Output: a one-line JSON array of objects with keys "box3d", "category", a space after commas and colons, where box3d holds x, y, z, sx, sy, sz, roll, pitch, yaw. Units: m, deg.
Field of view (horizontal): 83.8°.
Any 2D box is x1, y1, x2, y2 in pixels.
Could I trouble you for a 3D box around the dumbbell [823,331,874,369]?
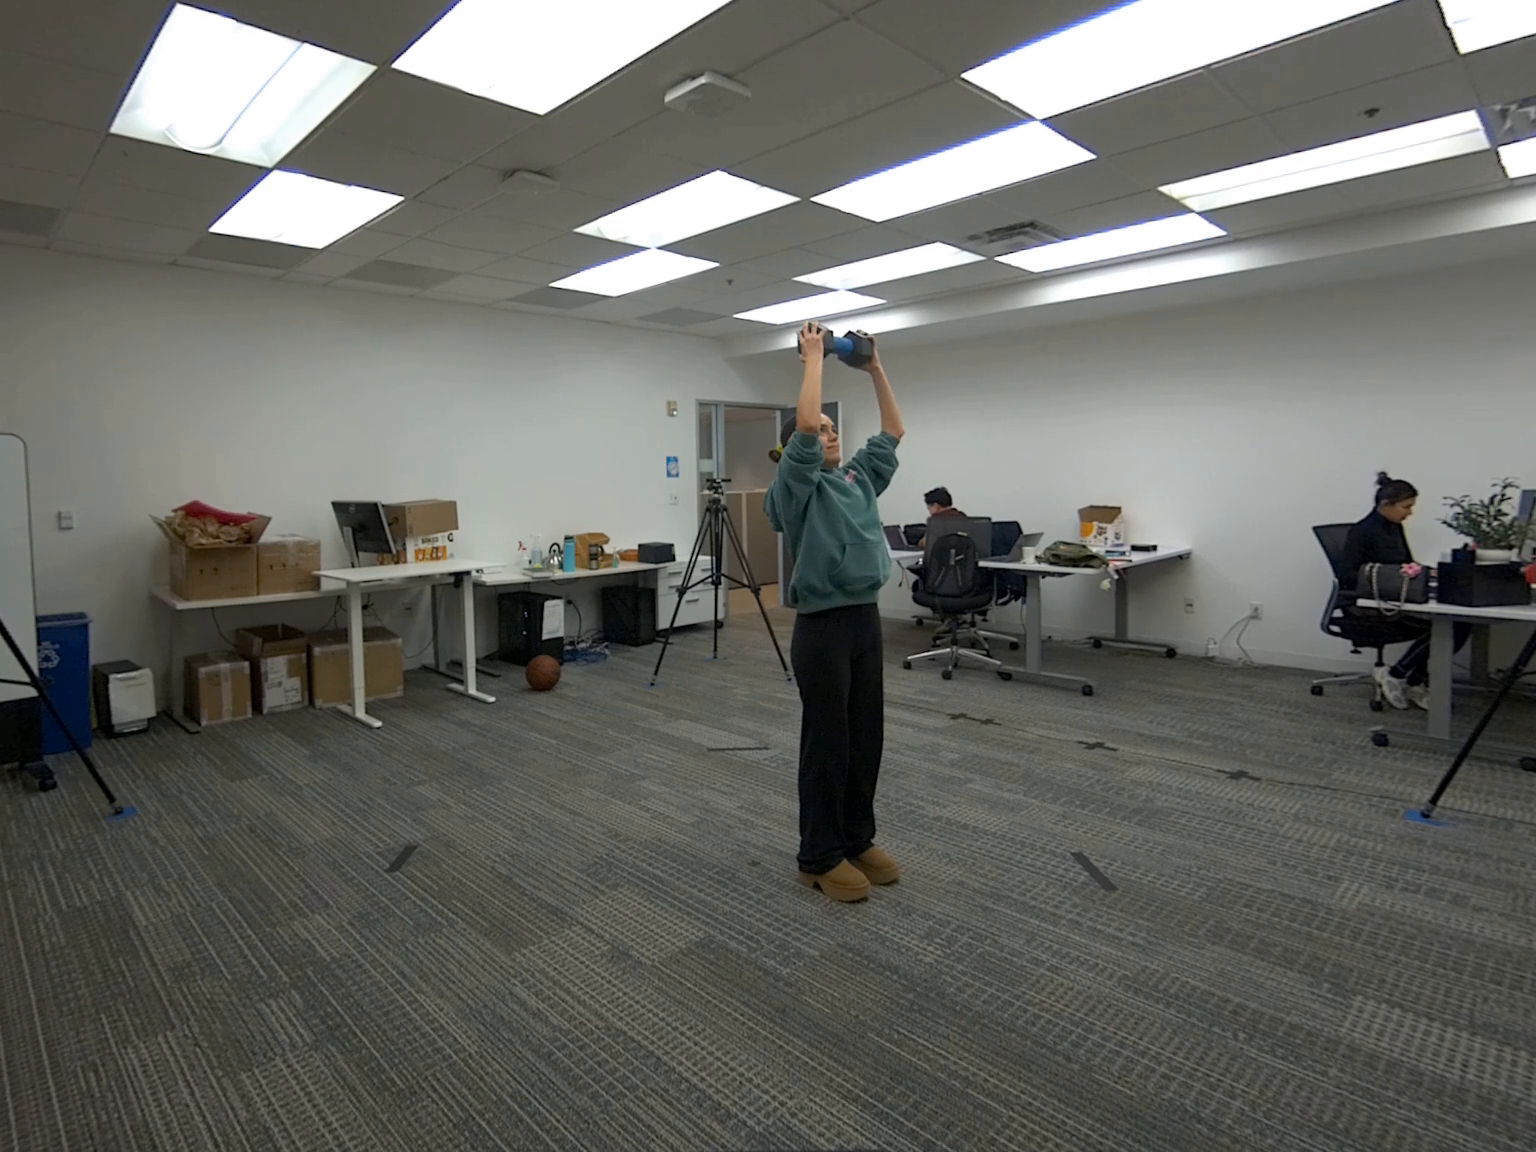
[{"box3d": [0.227, -0.778, 2.890, 0.112, 0.123, 0.286, 1, 5, 45], "category": "dumbbell"}]
